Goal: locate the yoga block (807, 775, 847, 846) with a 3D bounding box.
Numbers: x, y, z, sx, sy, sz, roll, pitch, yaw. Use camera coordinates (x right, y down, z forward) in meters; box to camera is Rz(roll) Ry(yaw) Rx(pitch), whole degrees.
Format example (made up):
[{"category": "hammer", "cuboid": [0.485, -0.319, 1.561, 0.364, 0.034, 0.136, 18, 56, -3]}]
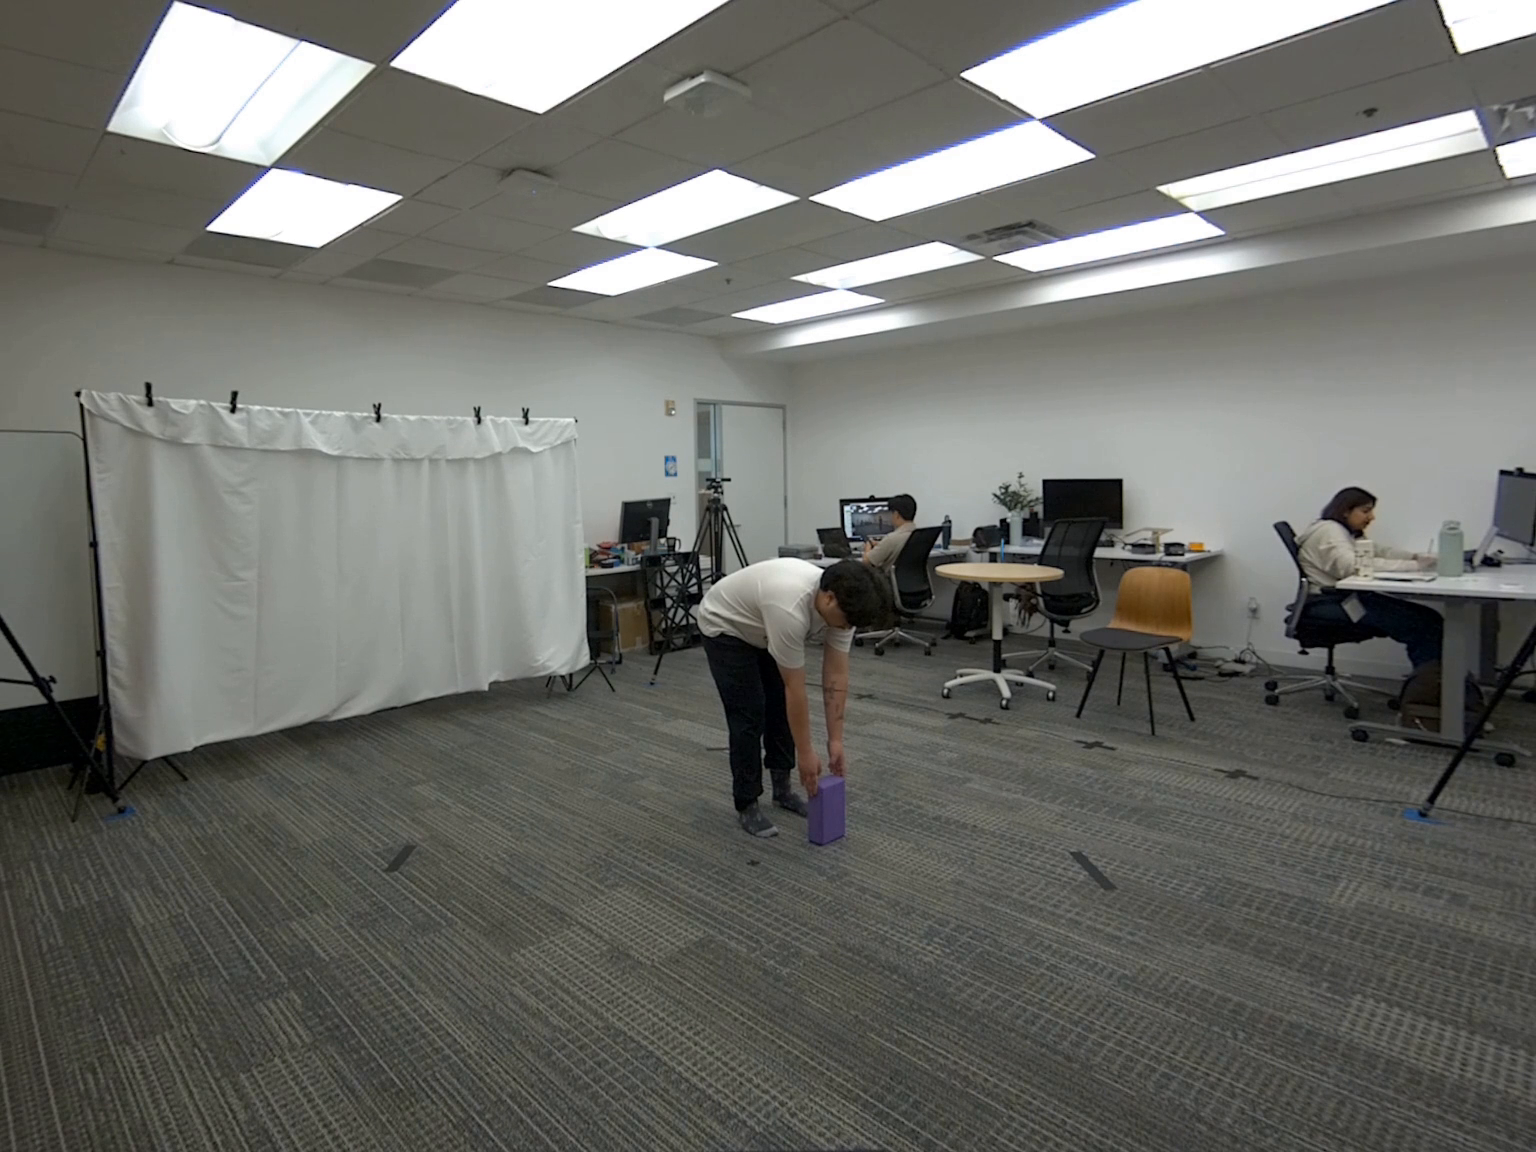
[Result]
[{"category": "yoga block", "cuboid": [0.230, 0.905, 3.304, 0.079, 0.229, 0.145, 0, 2, 45]}]
